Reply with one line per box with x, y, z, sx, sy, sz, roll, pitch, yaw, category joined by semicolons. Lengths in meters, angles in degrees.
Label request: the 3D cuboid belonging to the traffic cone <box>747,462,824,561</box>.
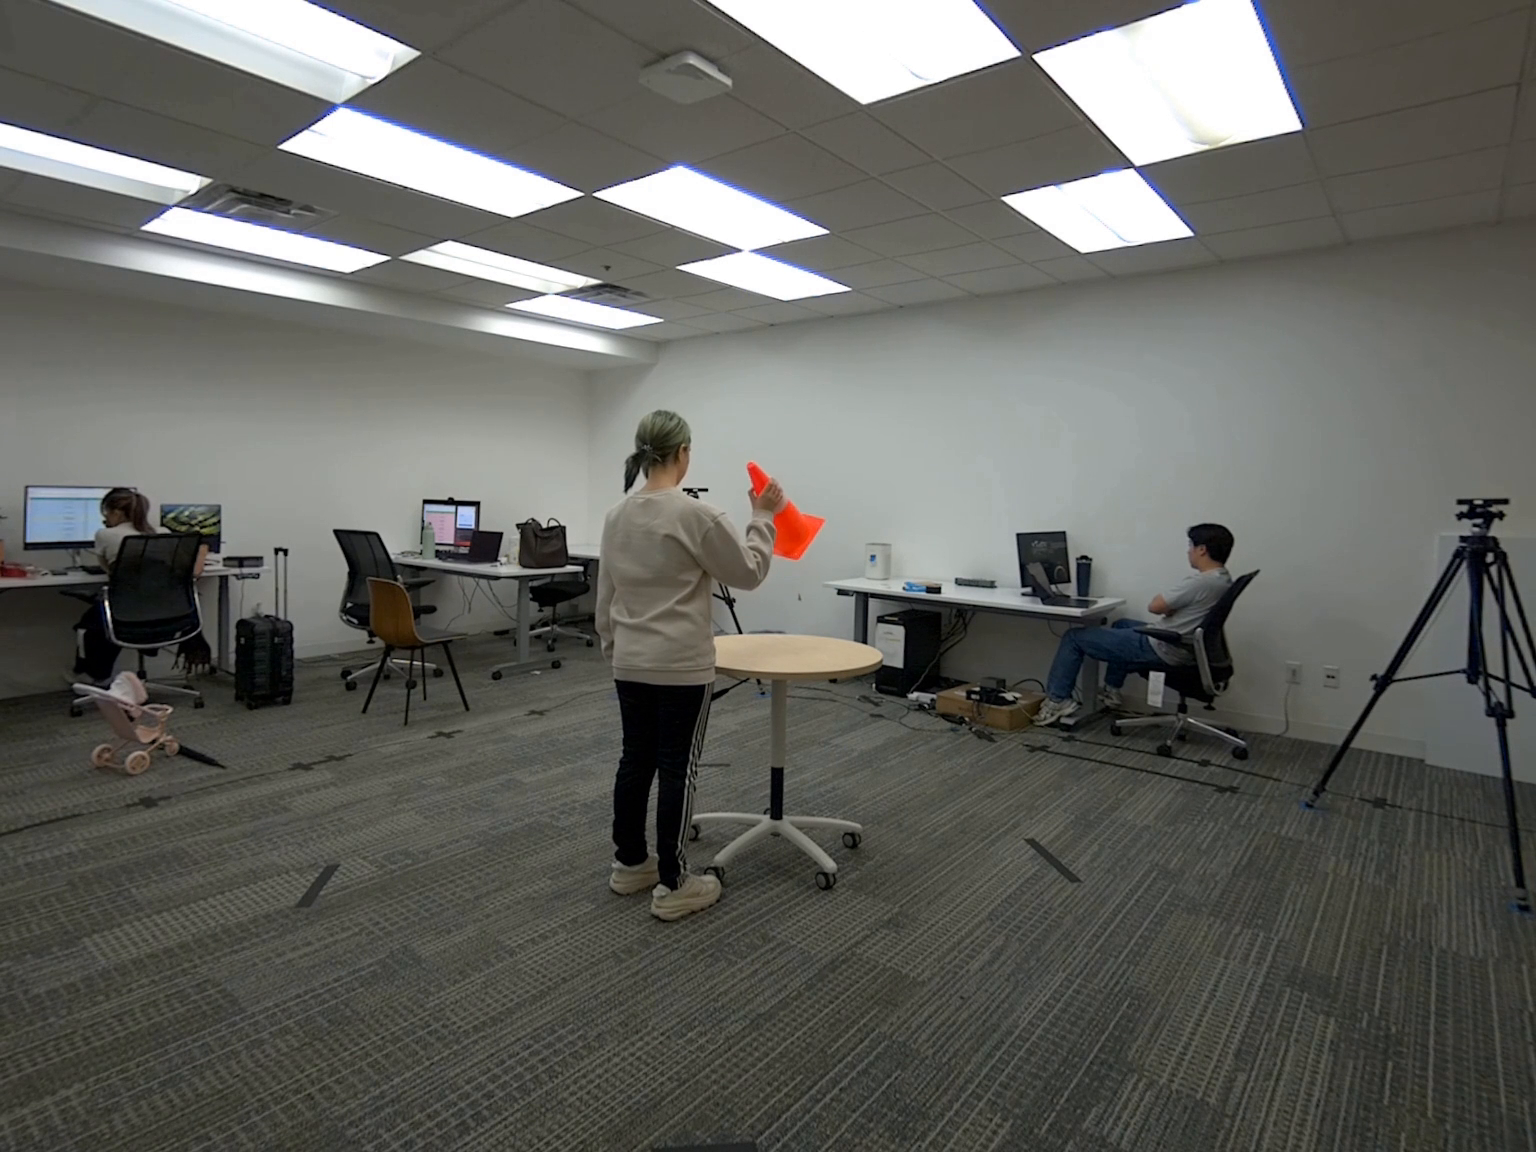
0.009;-0.262;2.975;0.212;0.204;0.368;14;-29;38;traffic cone
